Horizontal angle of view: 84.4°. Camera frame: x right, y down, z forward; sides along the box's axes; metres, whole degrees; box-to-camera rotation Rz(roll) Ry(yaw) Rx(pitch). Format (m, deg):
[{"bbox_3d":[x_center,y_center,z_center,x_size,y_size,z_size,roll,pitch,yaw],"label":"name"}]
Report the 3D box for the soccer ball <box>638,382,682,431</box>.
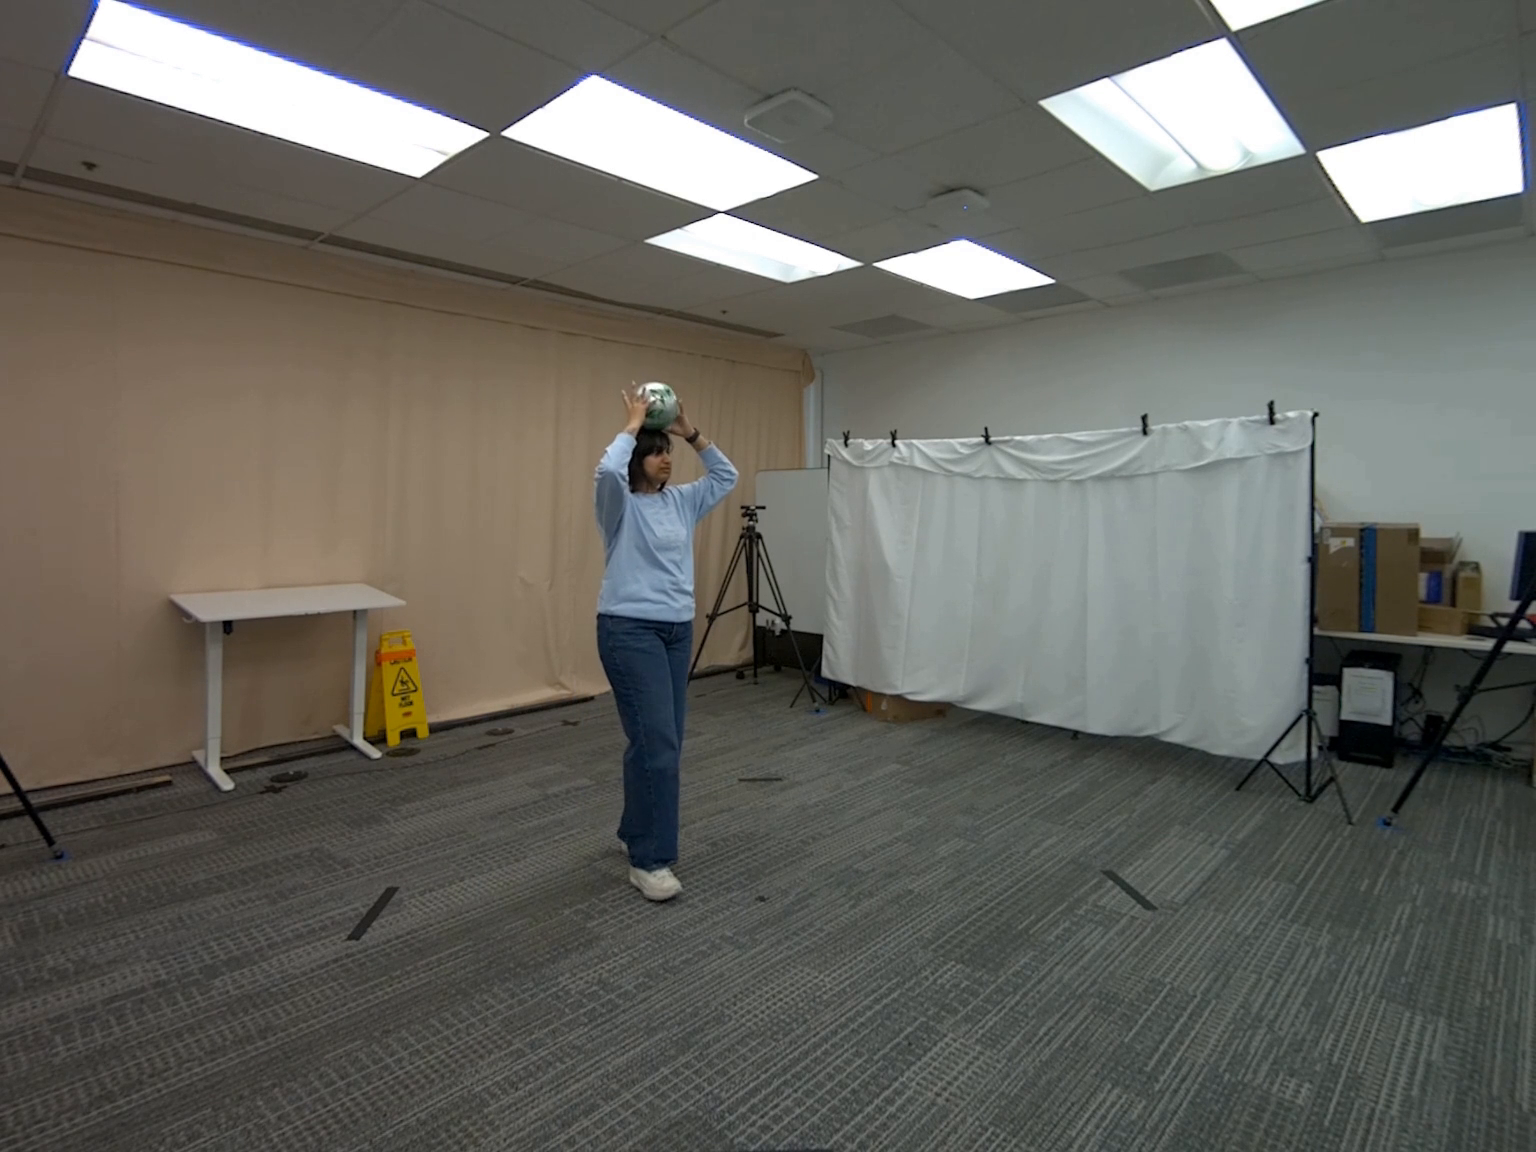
[{"bbox_3d":[-0.429,-0.646,3.220,0.187,0.187,0.188,0,4,-2],"label":"soccer ball"}]
